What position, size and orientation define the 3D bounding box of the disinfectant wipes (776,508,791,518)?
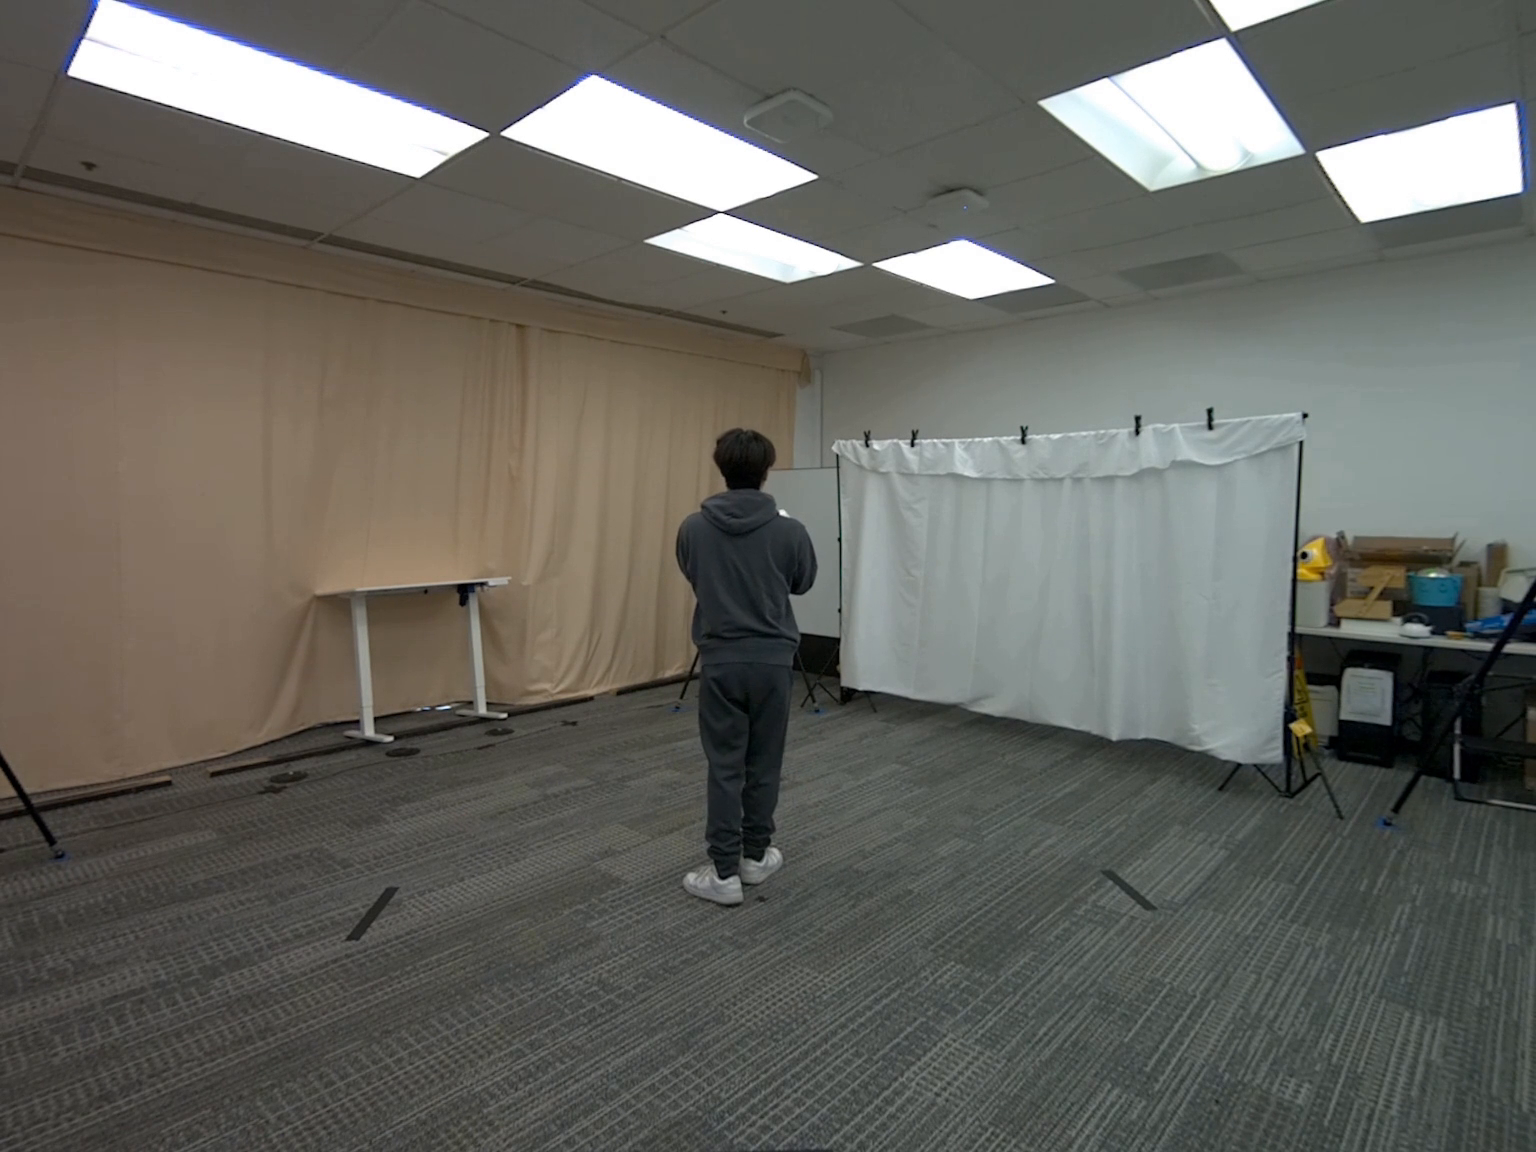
[{"bbox_3d":[0.000,-0.188,3.501,0.216,0.117,0.119,-29,10,-10],"label":"disinfectant wipes"}]
